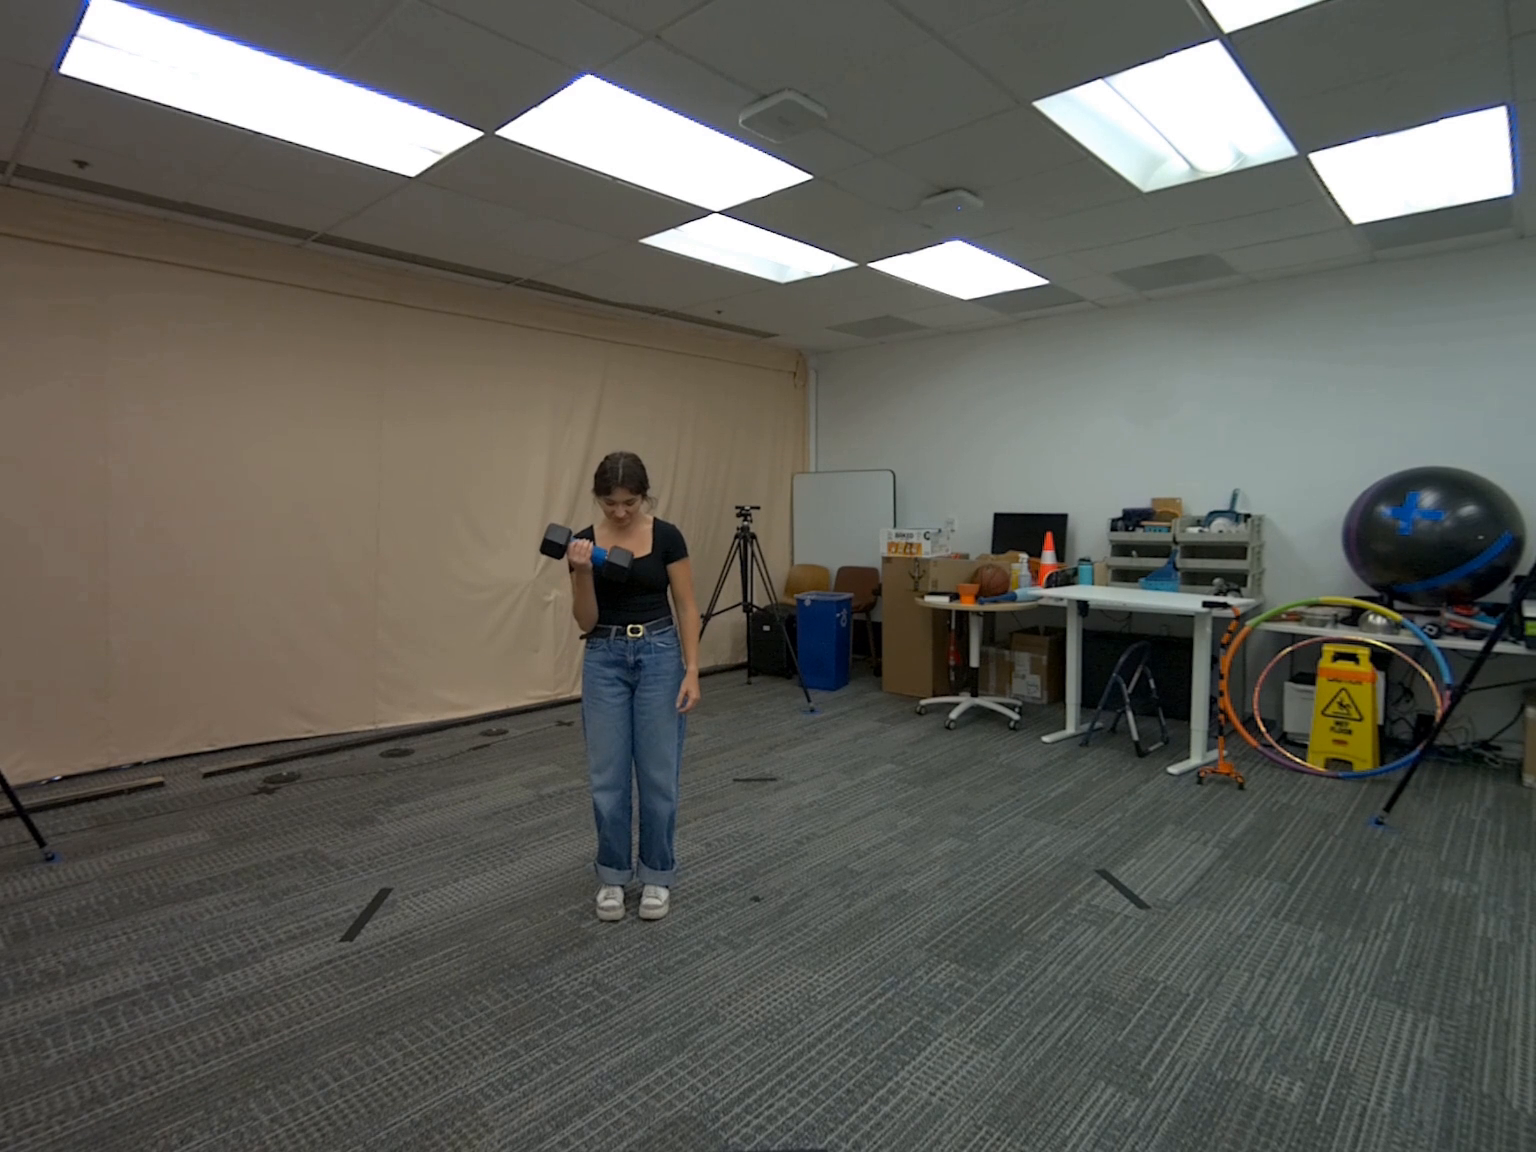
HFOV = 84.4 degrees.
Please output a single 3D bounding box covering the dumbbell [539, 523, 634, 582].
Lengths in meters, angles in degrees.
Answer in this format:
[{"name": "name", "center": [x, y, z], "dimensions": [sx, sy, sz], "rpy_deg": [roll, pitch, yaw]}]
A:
[{"name": "dumbbell", "center": [-0.587, -0.068, 2.715], "dimensions": [0.291, 0.122, 0.110], "rpy_deg": [21, 28, -8]}]
